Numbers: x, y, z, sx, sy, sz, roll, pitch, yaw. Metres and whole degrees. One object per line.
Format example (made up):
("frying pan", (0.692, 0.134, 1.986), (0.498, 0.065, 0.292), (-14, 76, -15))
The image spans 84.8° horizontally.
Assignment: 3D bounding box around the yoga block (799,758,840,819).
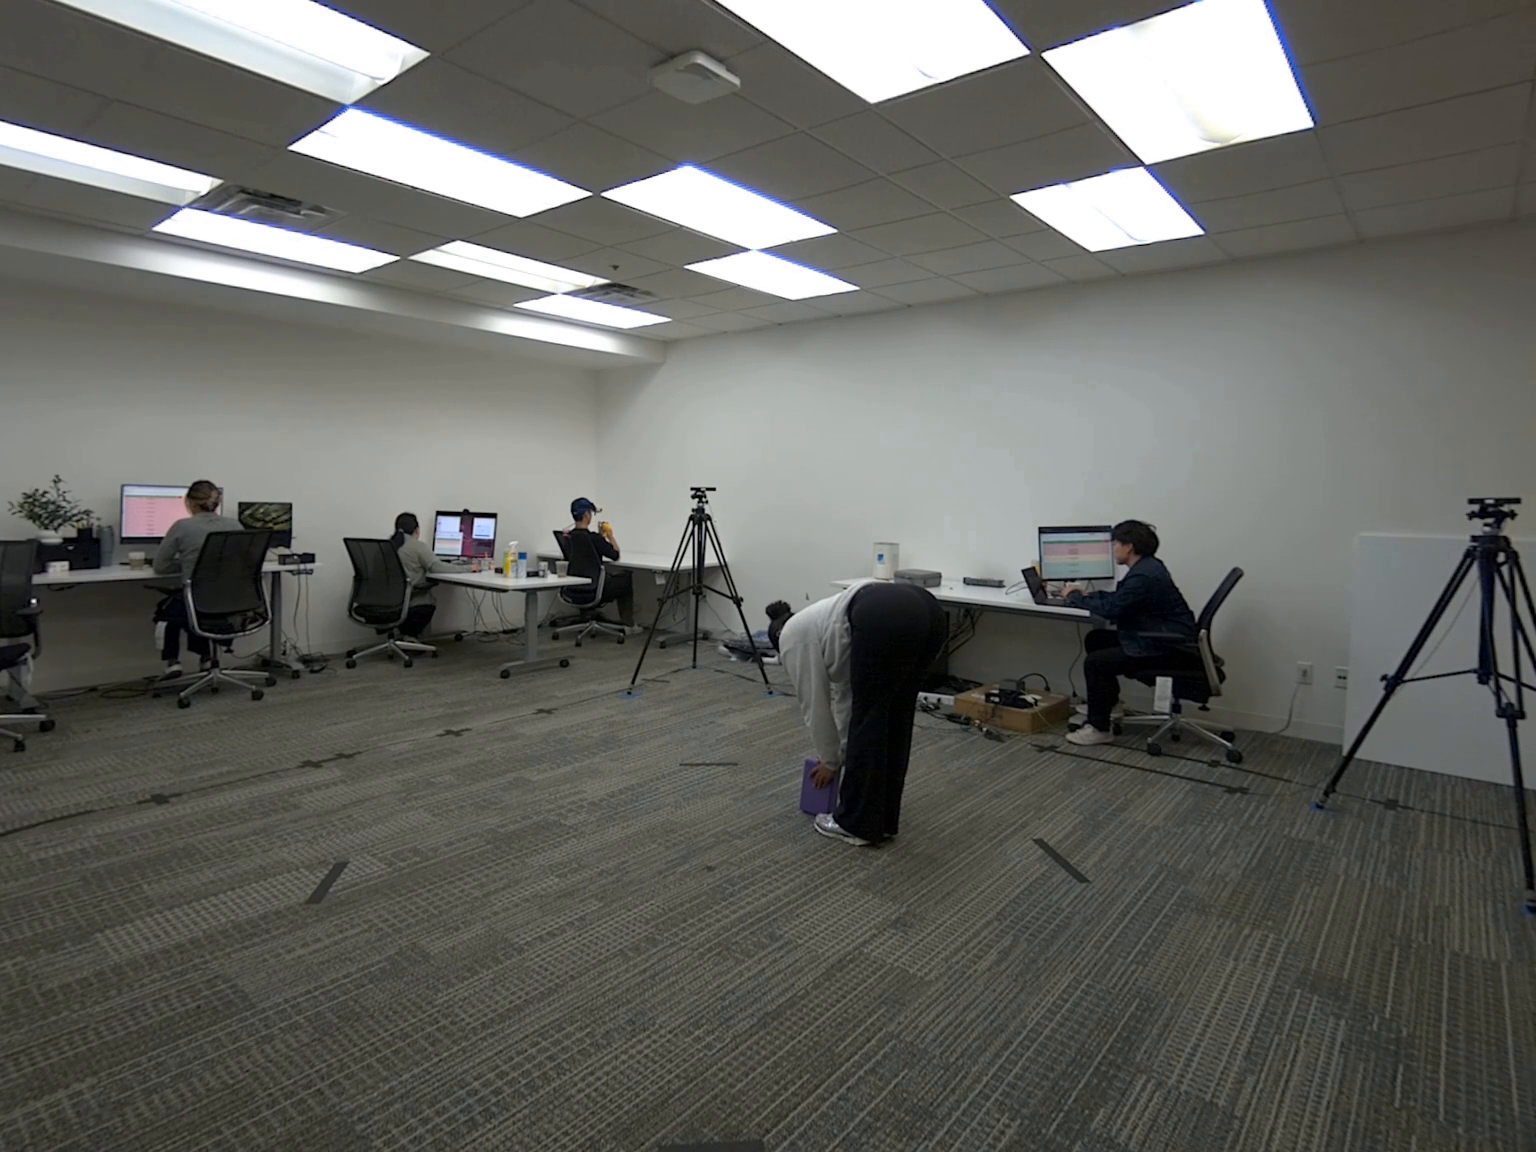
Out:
("yoga block", (0.216, 0.903, 3.653), (0.154, 0.229, 0.074), (9, 4, 36))
